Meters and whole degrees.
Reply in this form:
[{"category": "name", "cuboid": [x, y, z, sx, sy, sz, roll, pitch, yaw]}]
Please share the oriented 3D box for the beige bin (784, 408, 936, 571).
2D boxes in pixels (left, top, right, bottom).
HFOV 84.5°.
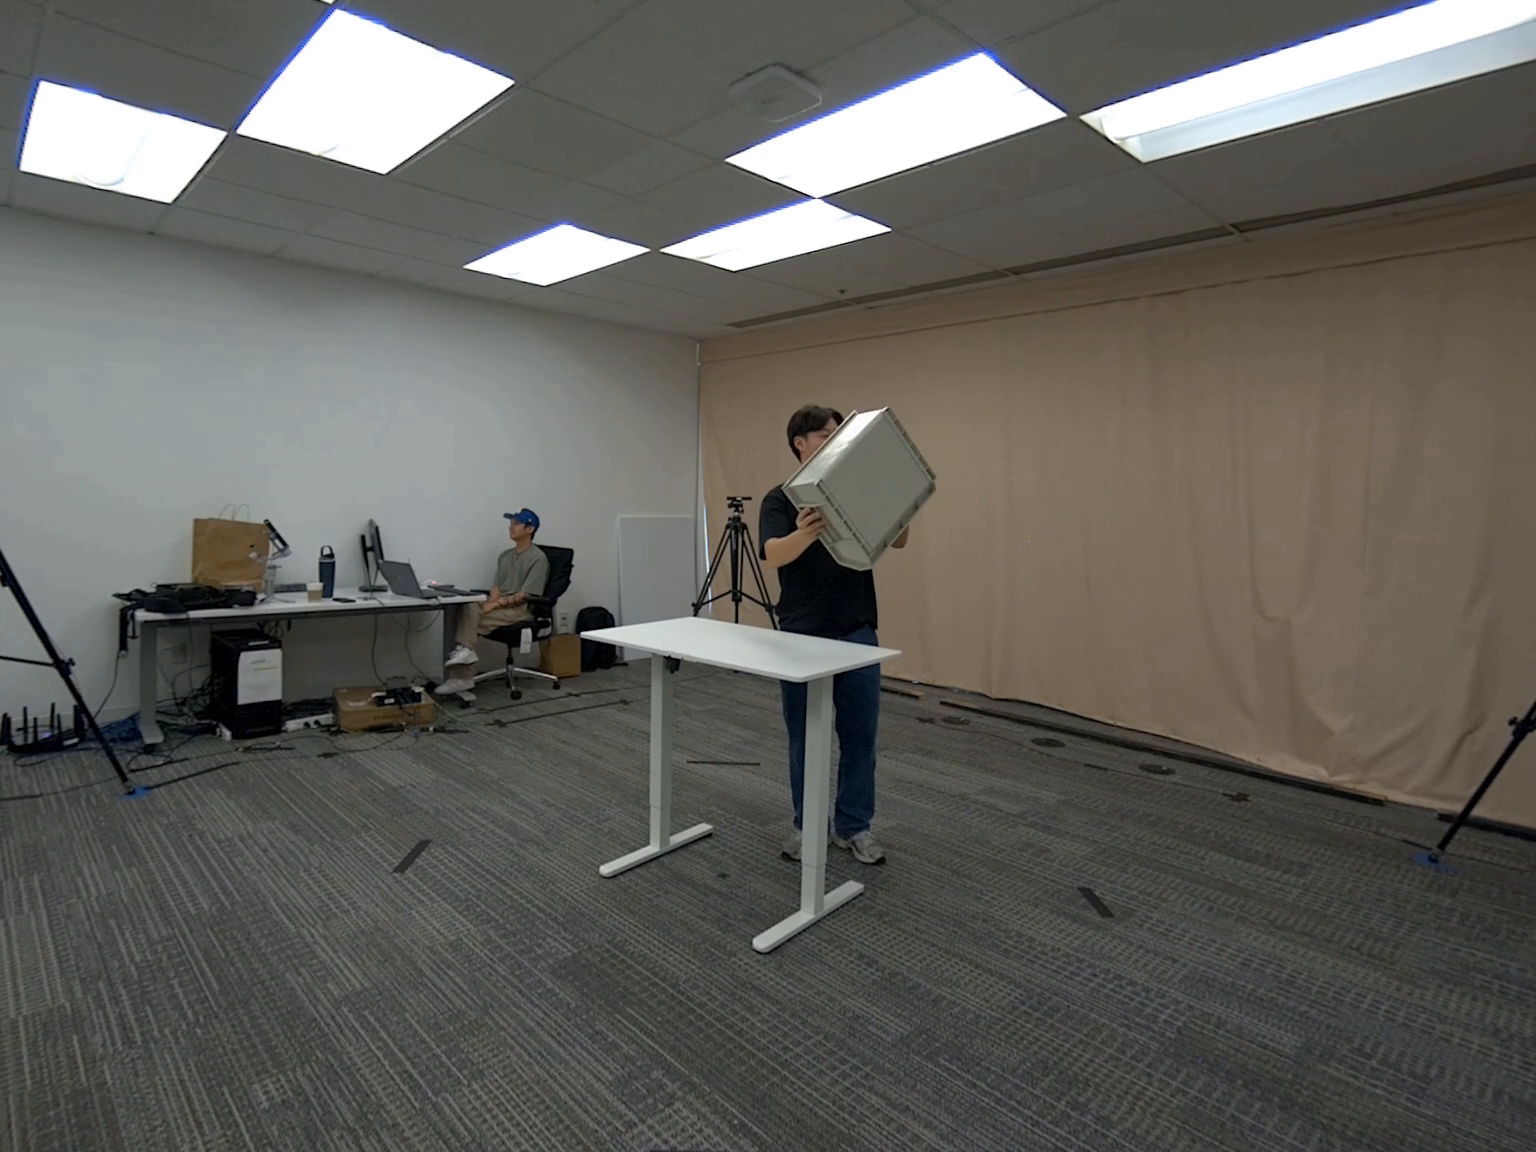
[{"category": "beige bin", "cuboid": [0.324, -0.294, 2.854, 0.422, 0.370, 0.193, -46, 20, -23]}]
